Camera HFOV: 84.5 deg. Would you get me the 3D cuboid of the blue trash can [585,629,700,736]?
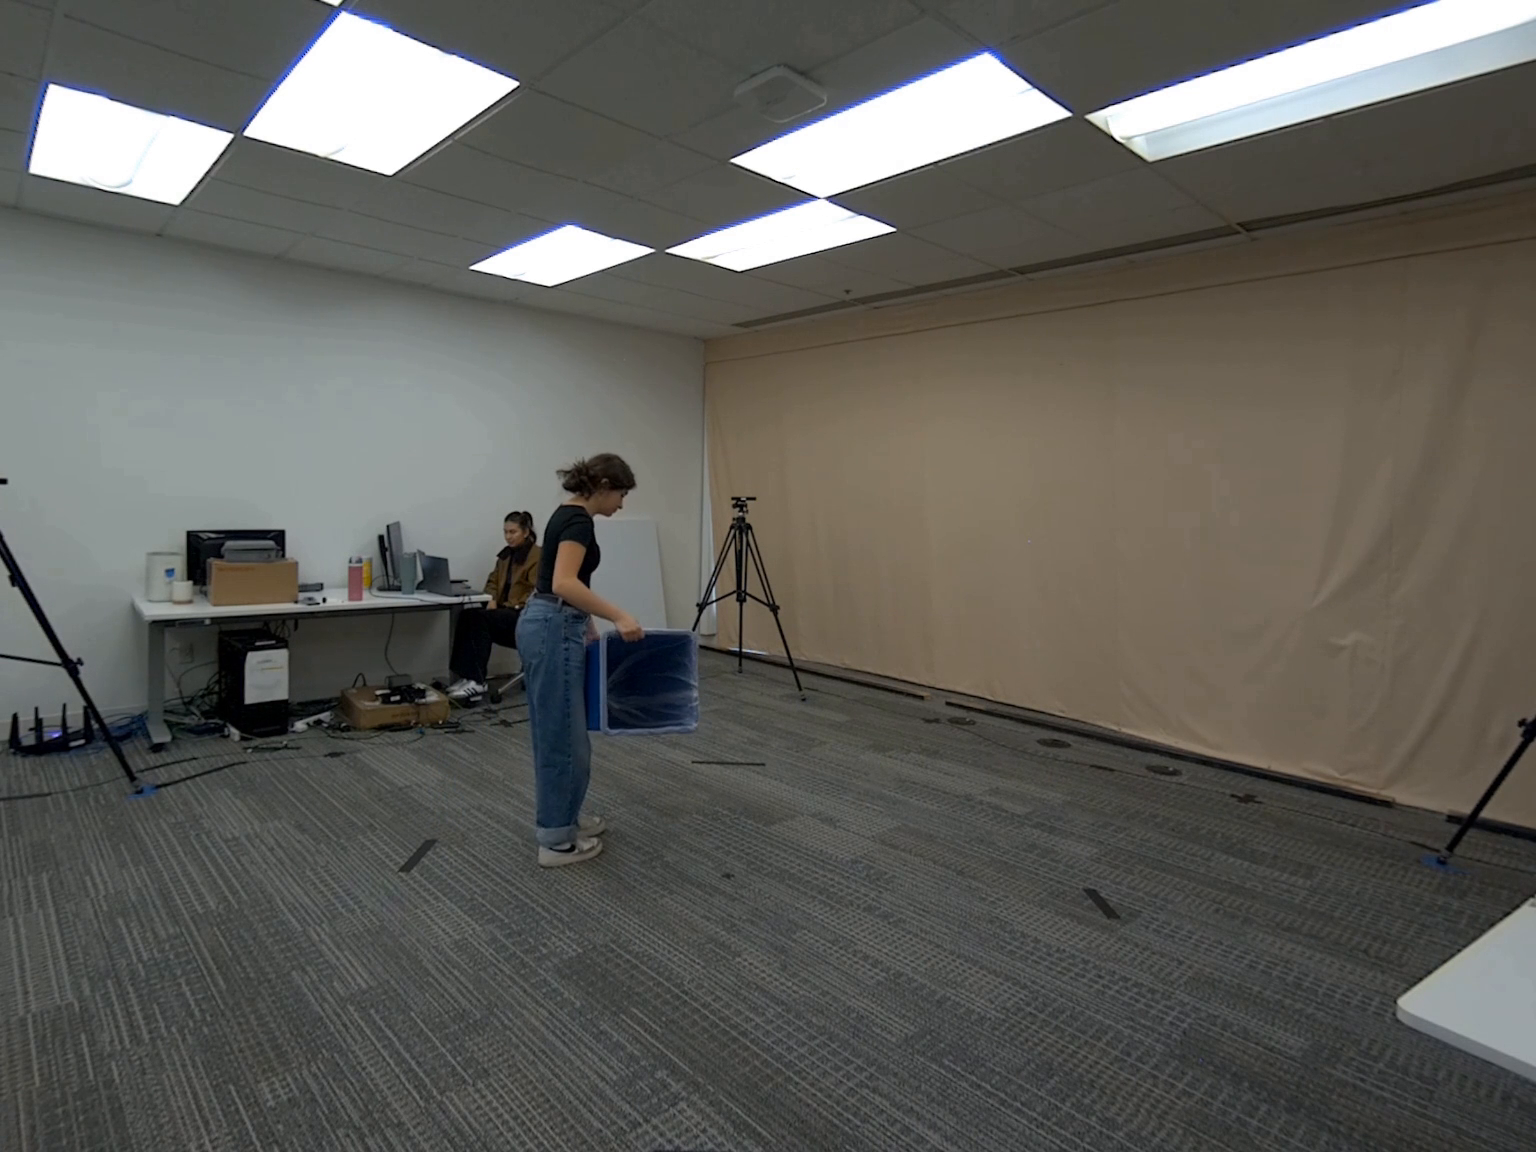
[{"bbox_3d":[-0.577,0.446,3.328,0.371,0.377,0.720,2,-12,-24],"label":"blue trash can"}]
